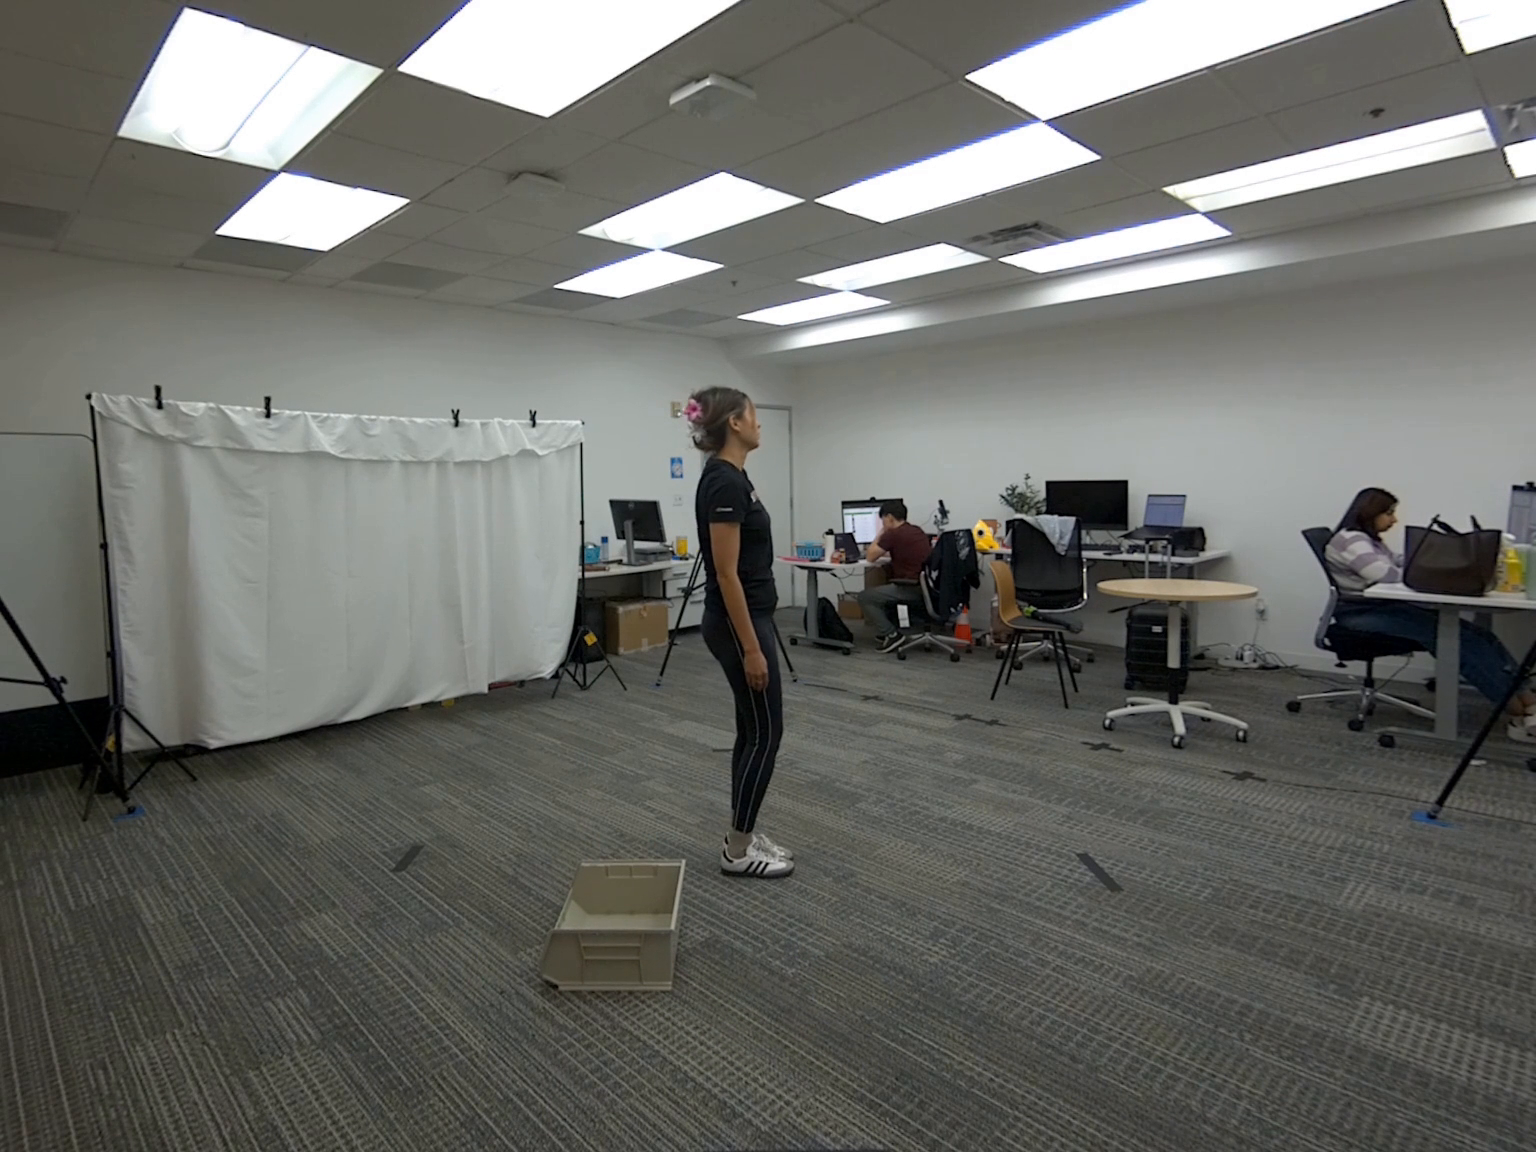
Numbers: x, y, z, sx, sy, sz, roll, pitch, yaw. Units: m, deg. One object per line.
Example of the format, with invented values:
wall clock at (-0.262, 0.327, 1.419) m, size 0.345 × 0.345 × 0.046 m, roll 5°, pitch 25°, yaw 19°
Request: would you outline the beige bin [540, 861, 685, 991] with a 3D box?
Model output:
beige bin at (-0.445, 1.033, 2.548) m, size 0.378 × 0.188 × 0.424 m, roll 0°, pitch 6°, yaw 0°
